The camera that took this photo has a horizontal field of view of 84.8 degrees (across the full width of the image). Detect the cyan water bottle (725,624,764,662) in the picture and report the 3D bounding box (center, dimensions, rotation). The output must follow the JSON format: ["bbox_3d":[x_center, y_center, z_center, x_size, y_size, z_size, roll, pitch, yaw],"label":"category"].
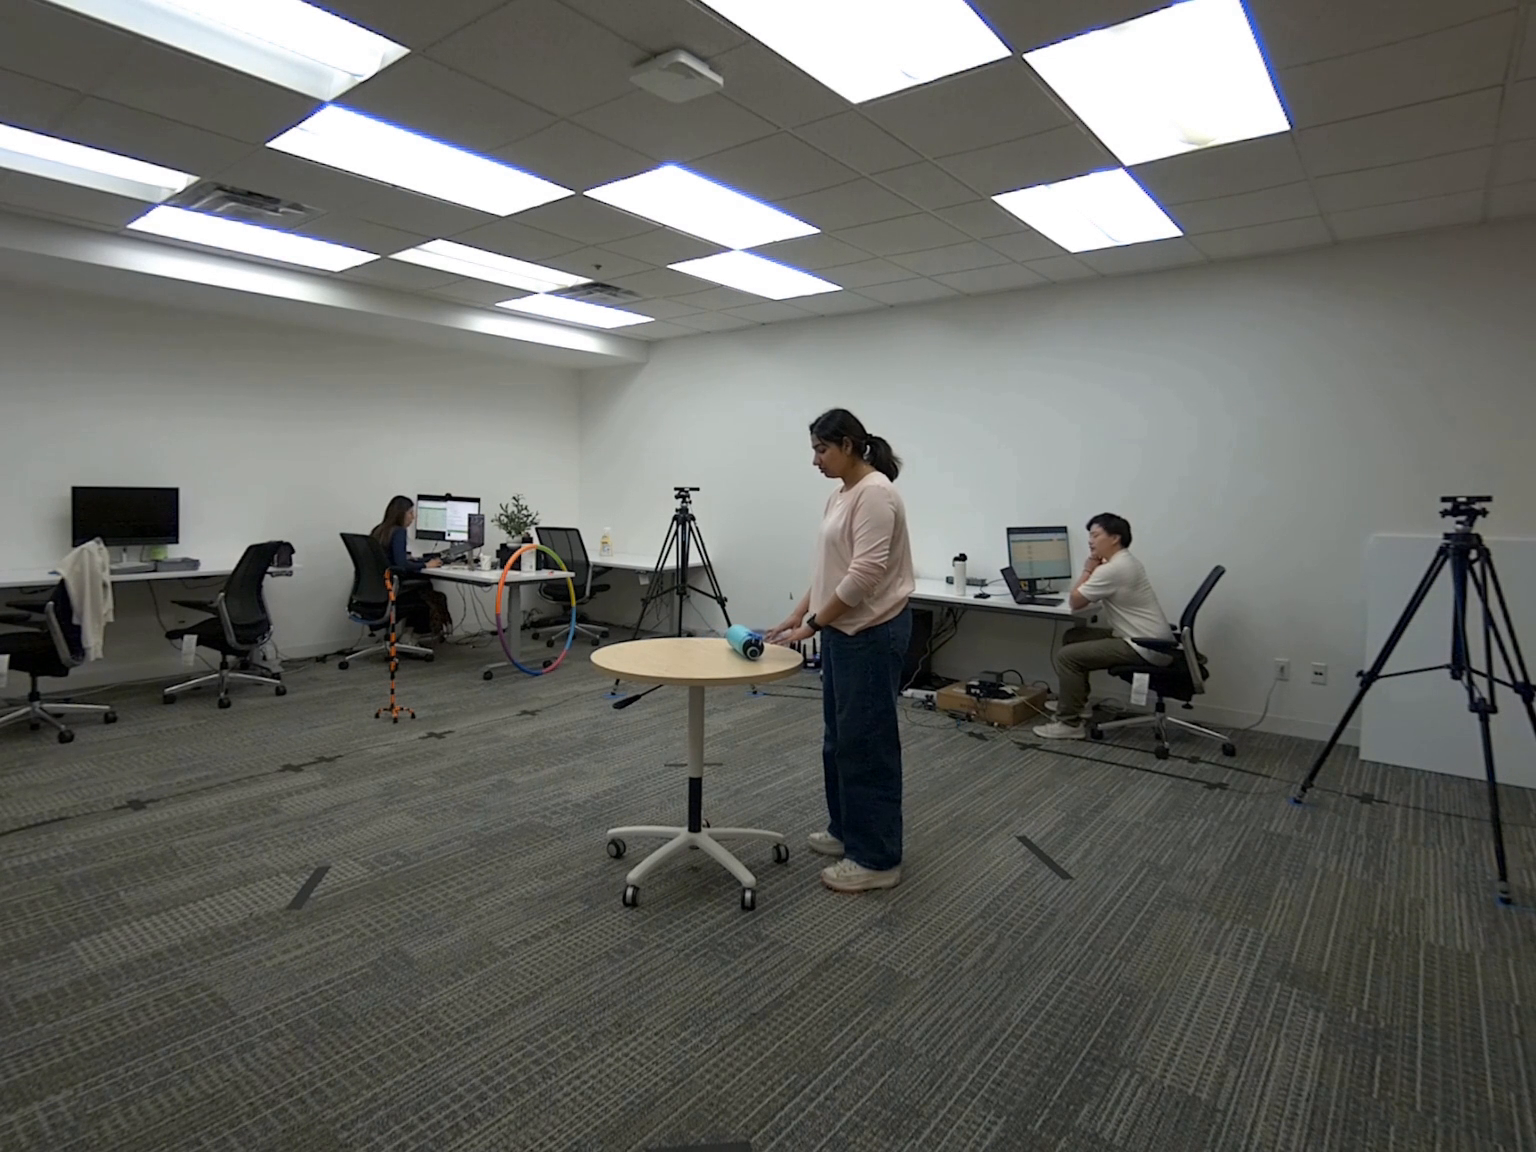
[{"bbox_3d":[-0.092,0.236,3.107,0.091,0.092,0.288,0,4,-14],"label":"cyan water bottle"}]
